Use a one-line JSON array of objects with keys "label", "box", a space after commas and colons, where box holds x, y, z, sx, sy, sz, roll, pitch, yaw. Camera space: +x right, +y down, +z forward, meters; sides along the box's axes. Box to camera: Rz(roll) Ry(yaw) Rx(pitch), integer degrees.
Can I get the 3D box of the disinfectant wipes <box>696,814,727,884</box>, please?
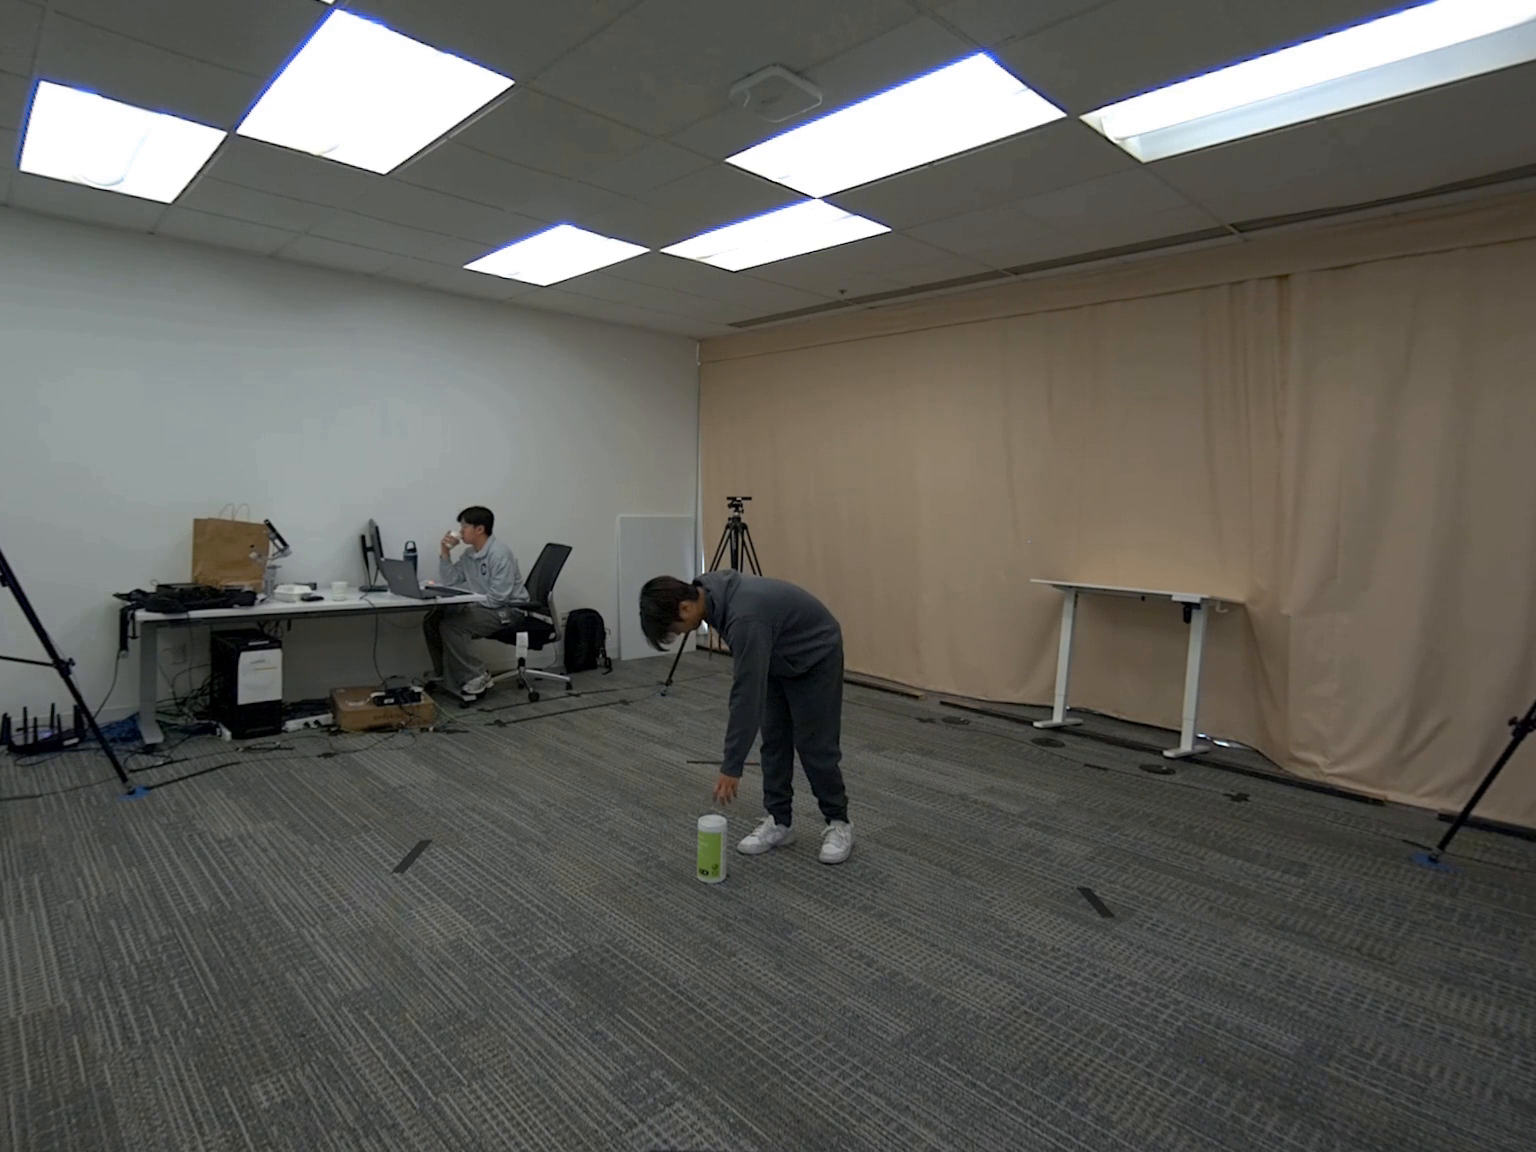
[{"label": "disinfectant wipes", "box": [-0.209, 0.999, 3.085, 0.118, 0.217, 0.118, 1, 3, -1]}]
